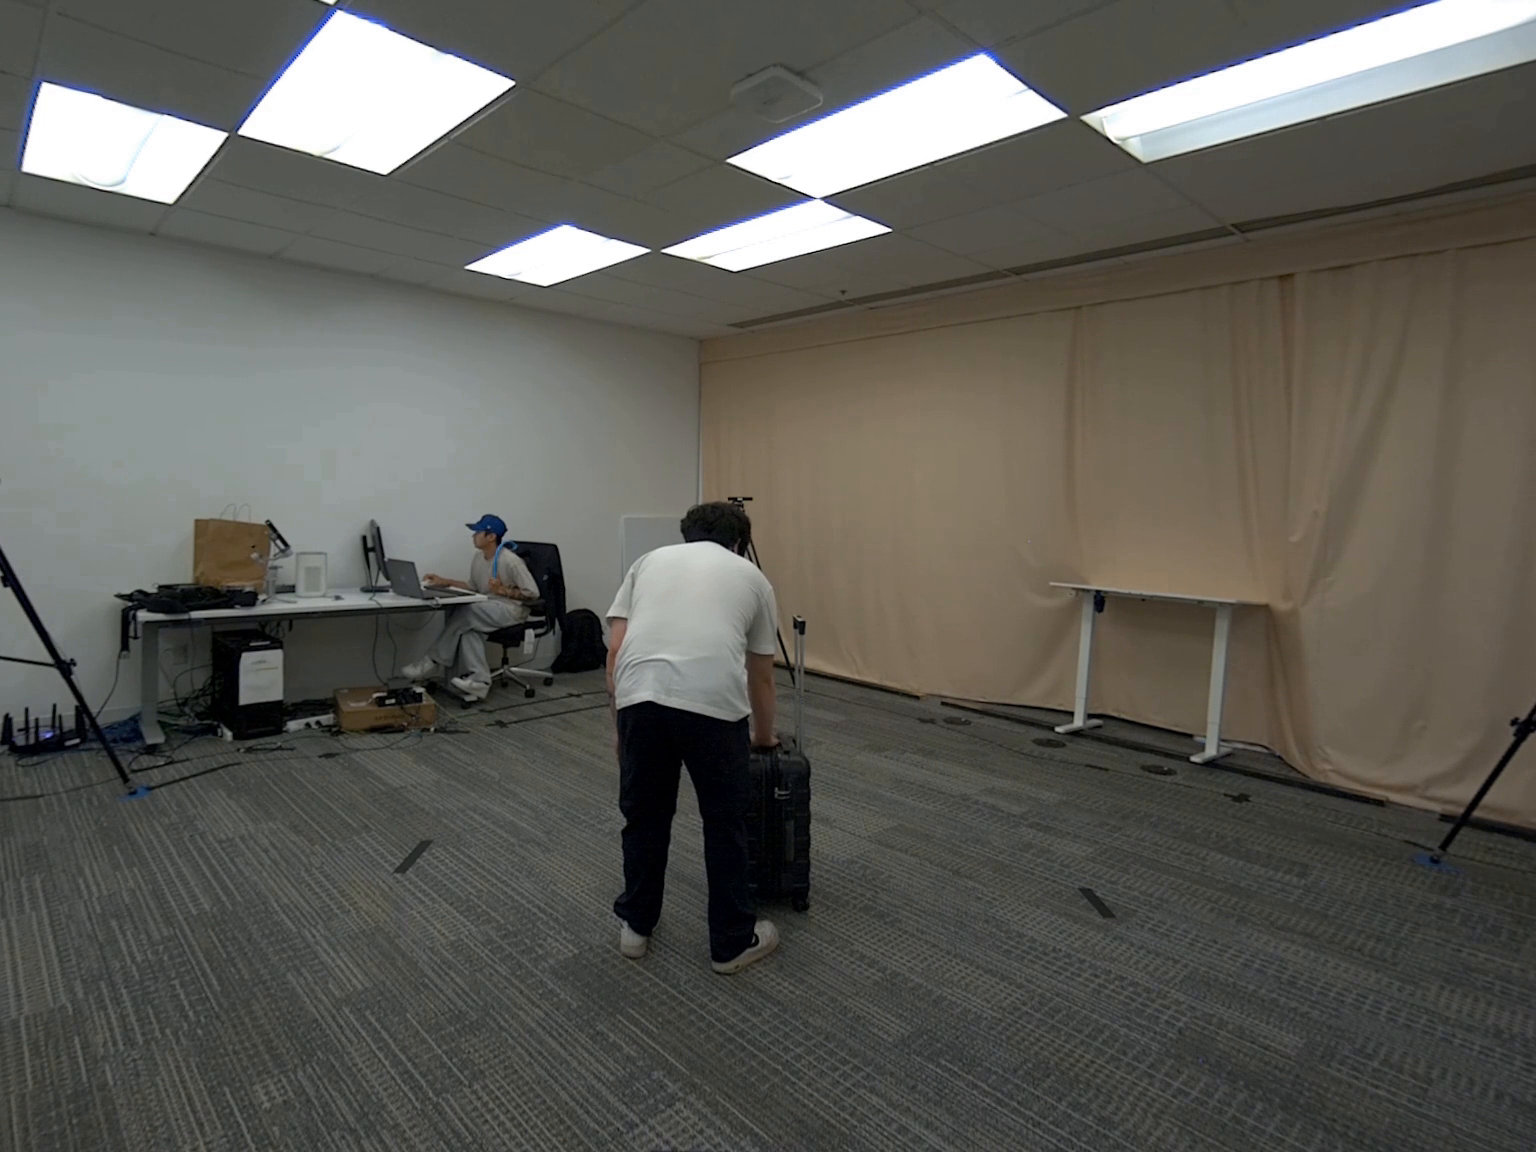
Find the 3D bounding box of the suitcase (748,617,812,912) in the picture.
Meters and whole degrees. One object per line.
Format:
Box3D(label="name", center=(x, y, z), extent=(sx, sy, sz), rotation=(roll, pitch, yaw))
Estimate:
Box3D(label="suitcase", center=(-0.002, 0.652, 2.948), extent=(0.256, 0.976, 0.386), rotation=(-3, 4, -4))
